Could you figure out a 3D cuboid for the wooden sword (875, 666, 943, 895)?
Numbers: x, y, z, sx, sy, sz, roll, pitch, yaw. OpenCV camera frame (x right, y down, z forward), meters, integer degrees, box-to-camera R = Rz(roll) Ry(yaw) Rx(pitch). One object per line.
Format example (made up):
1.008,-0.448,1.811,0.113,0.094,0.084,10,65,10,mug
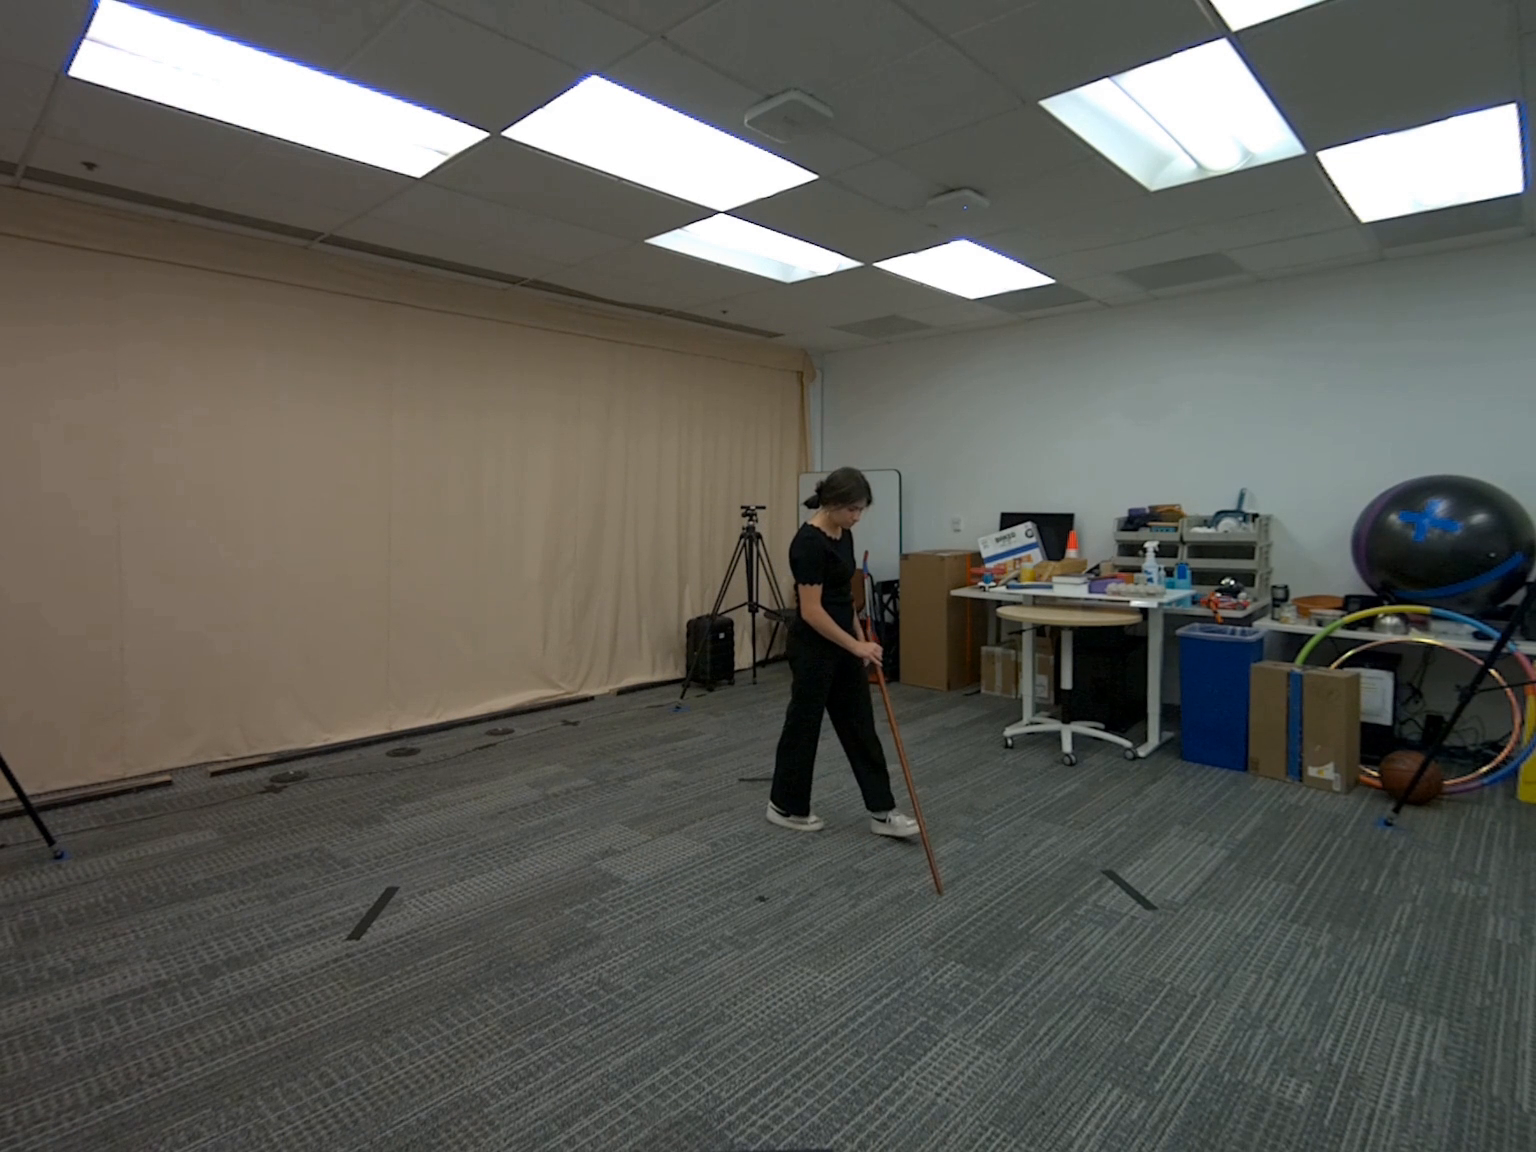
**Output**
0.526,0.700,3.245,0.024,1.047,0.049,-29,-30,23,wooden sword
